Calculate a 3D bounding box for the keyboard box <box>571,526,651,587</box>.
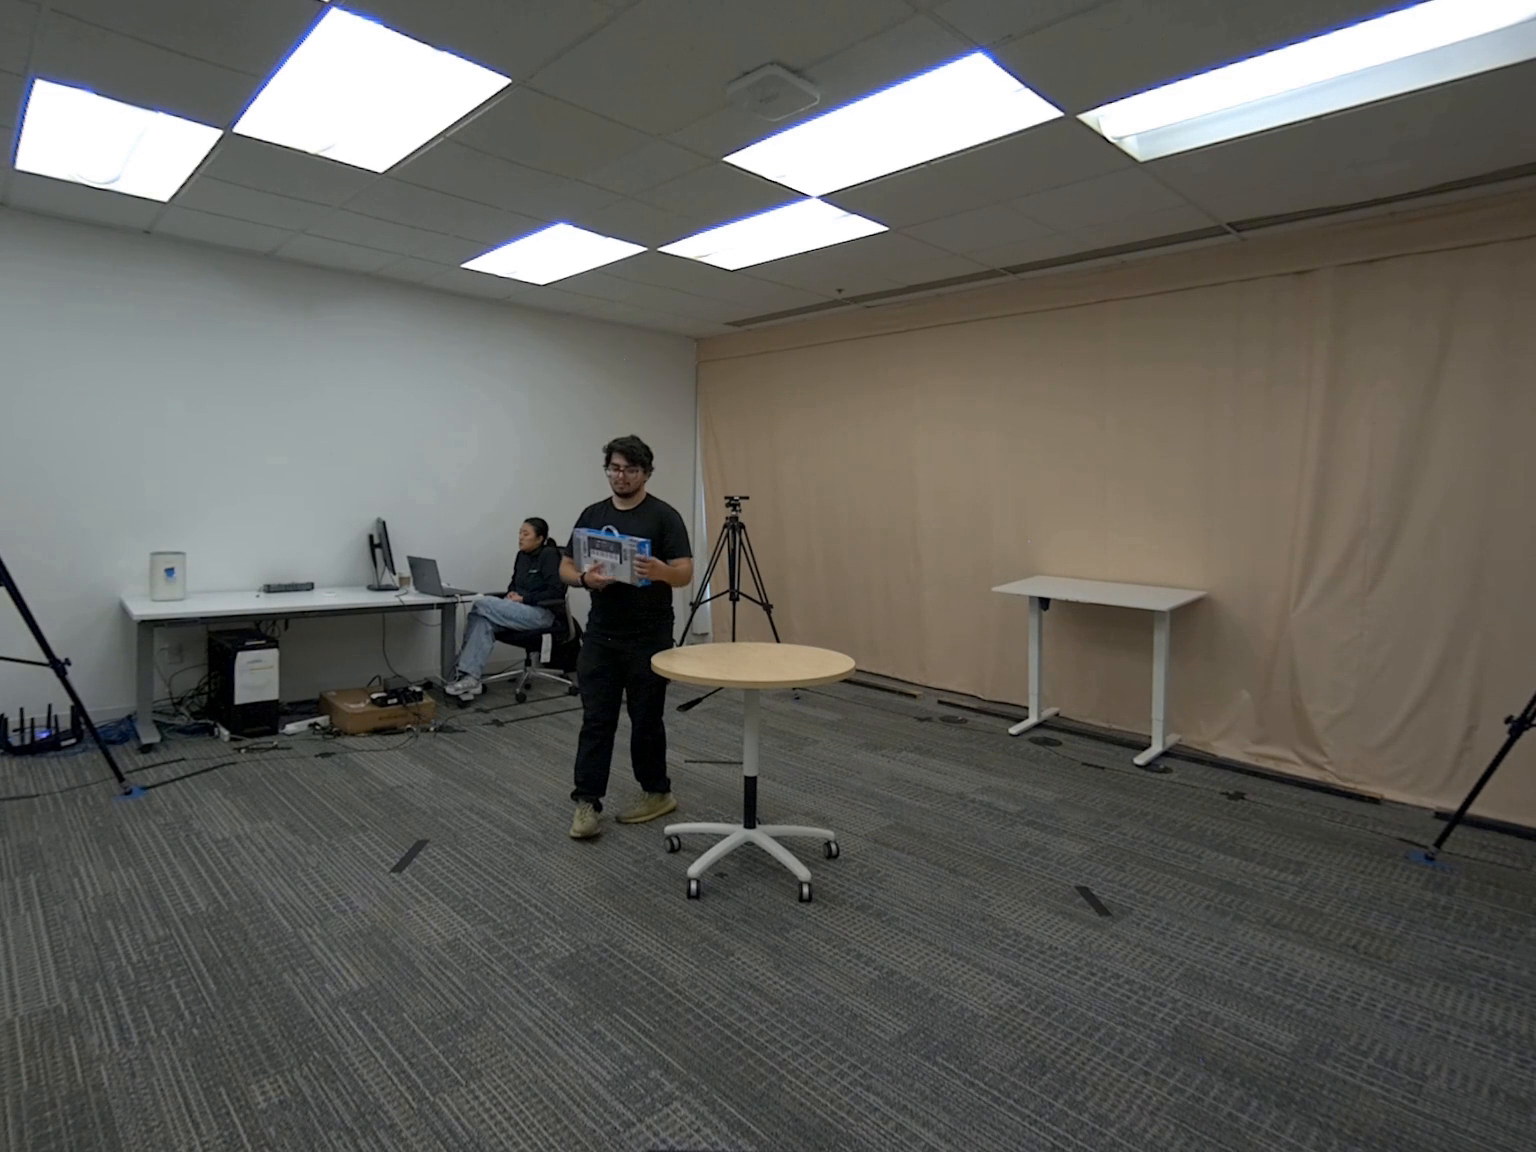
[{"bbox_3d":[-0.632,-0.079,3.308,0.058,0.175,0.449,-8,14,-44],"label":"keyboard box"}]
